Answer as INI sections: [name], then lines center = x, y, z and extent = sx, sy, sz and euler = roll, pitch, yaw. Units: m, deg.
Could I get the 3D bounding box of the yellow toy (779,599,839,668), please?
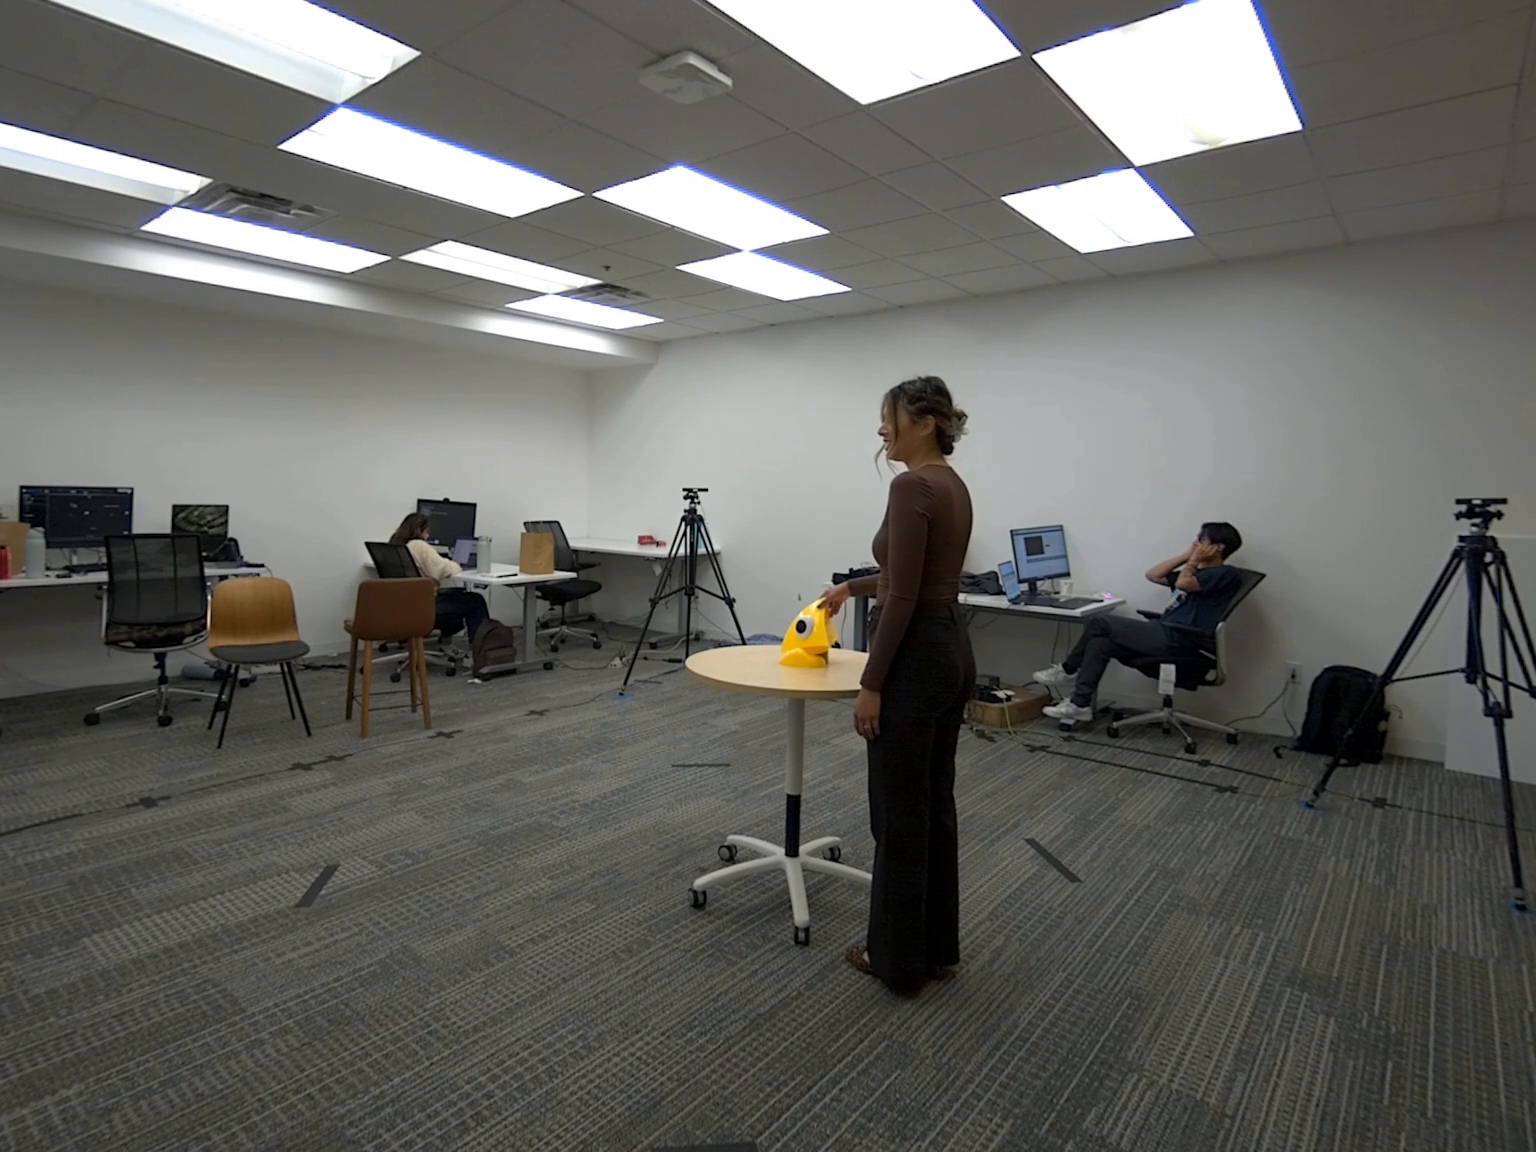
[yellow toy]
center = 0.133, 0.181, 2.945
extent = 0.196, 0.230, 0.201
euler = 3, 3, 15
